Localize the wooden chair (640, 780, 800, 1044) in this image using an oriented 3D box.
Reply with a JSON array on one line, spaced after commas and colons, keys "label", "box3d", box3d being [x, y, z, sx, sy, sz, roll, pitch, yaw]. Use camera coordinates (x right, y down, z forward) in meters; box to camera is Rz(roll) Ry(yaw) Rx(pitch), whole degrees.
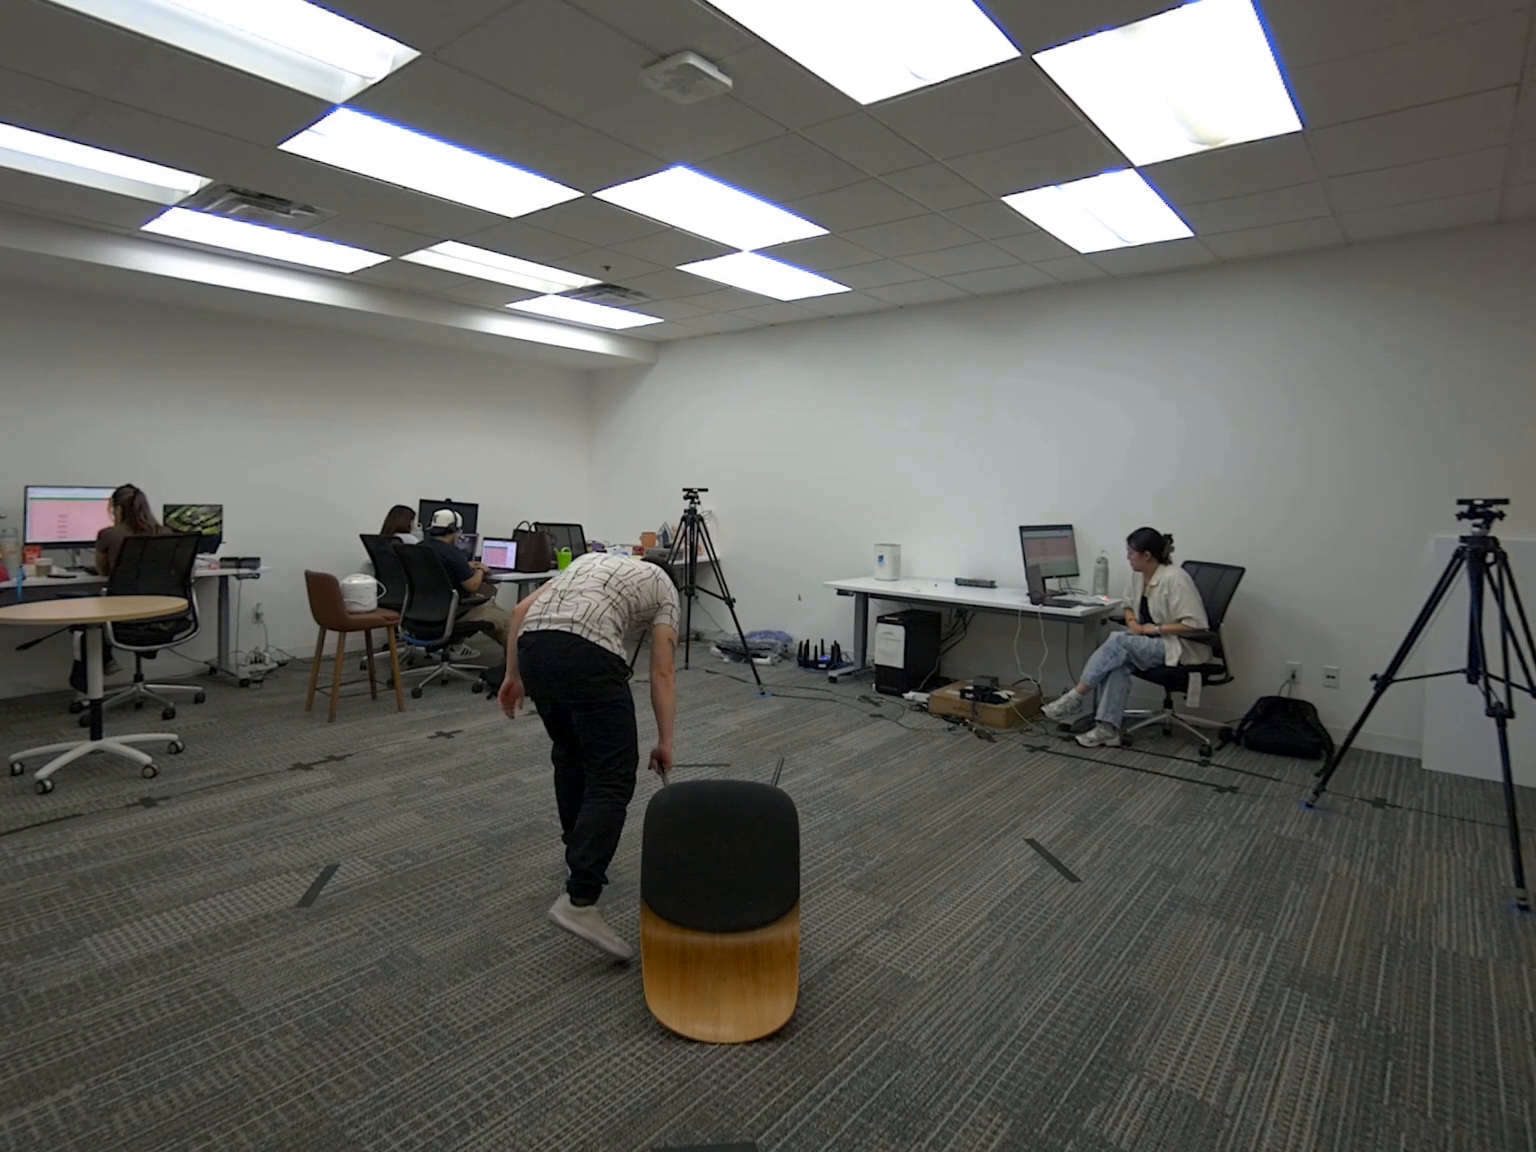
[{"label": "wooden chair", "box3d": [-0.147, 0.869, 2.542, 0.477, 0.520, 0.884, 1, 6, -3]}]
